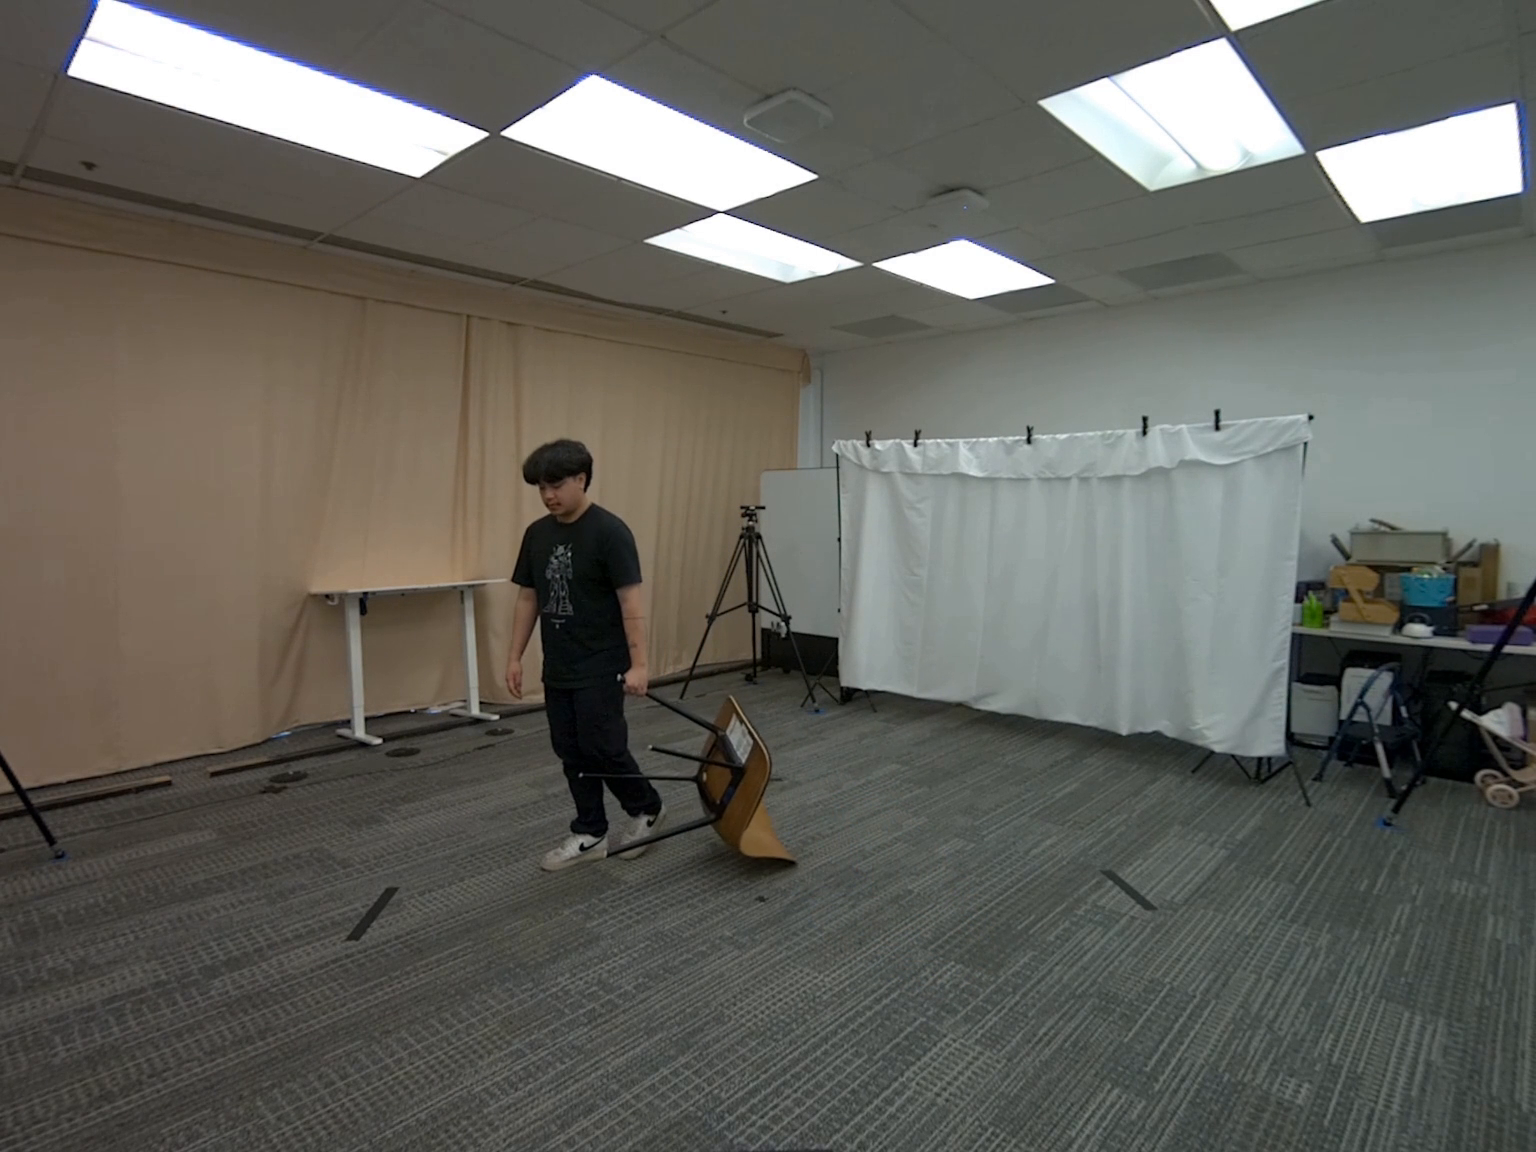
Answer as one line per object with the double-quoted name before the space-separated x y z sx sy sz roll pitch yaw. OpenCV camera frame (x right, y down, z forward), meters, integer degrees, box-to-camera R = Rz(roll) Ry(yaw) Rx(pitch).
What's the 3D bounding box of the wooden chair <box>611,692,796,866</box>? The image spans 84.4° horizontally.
"wooden chair" -0.184 0.751 3.171 0.852 0.522 0.493 19 14 -27
